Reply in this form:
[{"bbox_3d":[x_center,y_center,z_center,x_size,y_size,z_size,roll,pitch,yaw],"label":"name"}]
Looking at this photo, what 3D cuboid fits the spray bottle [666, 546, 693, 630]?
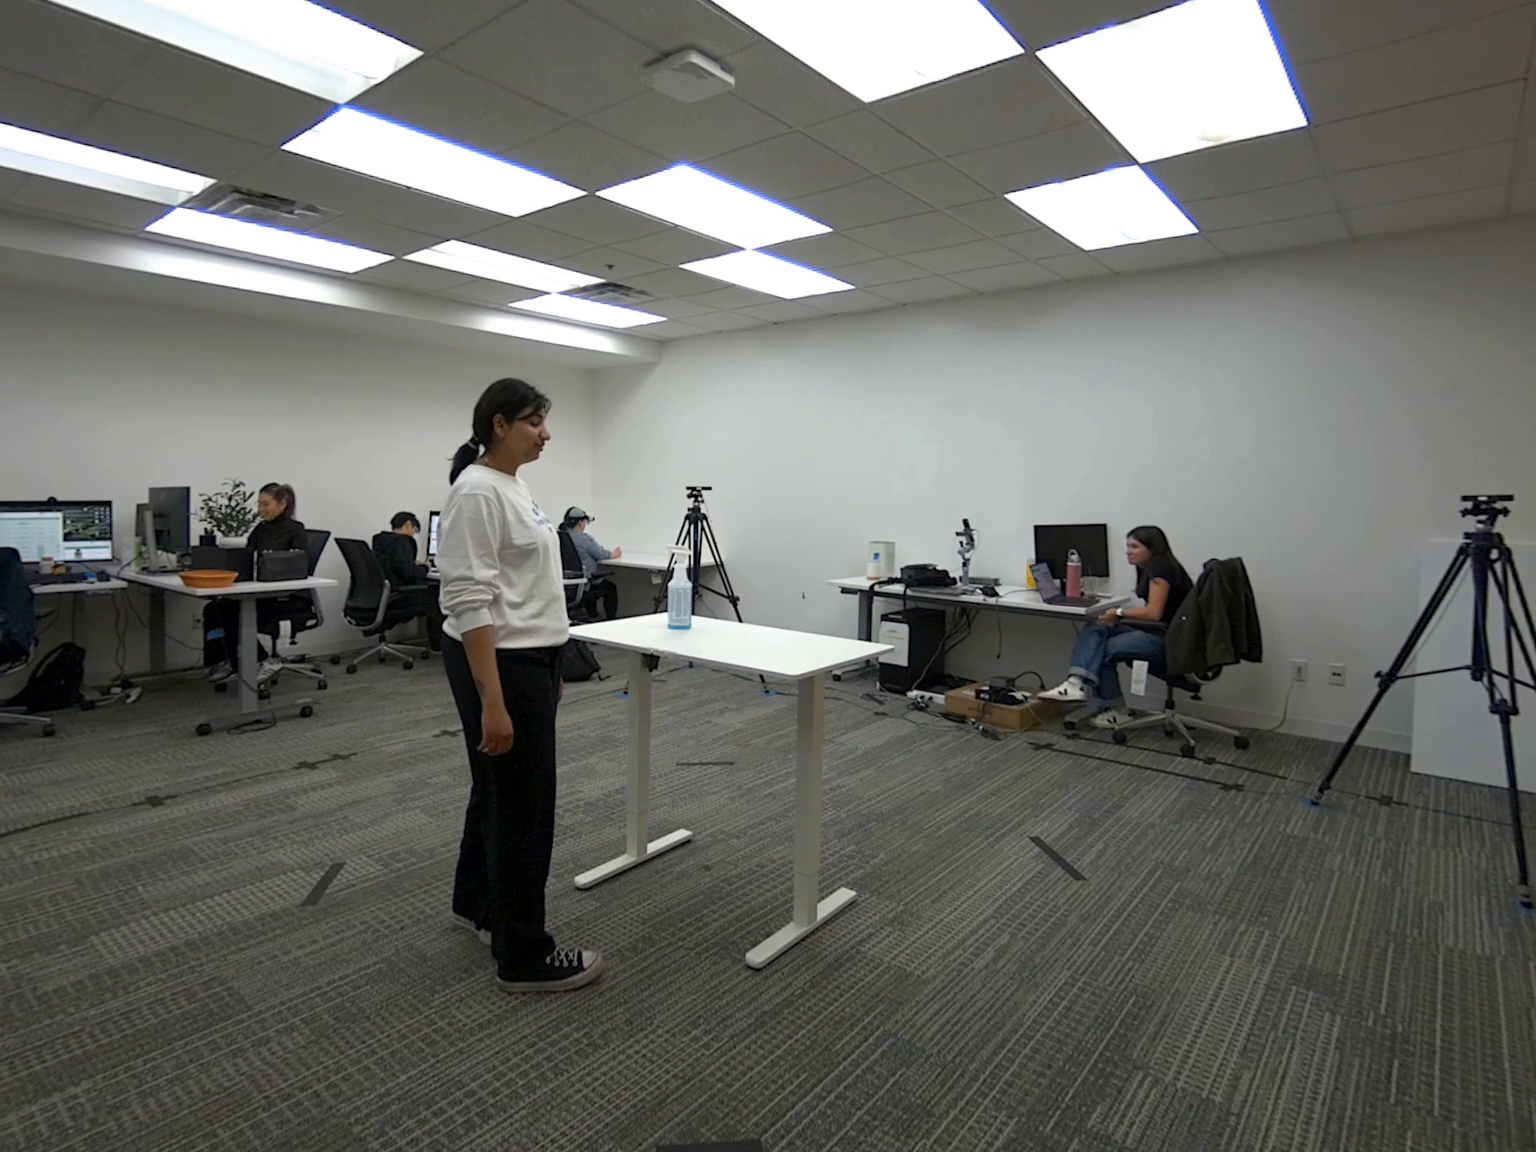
[{"bbox_3d":[-0.318,0.040,3.048,0.092,0.297,0.085,2,3,19],"label":"spray bottle"}]
